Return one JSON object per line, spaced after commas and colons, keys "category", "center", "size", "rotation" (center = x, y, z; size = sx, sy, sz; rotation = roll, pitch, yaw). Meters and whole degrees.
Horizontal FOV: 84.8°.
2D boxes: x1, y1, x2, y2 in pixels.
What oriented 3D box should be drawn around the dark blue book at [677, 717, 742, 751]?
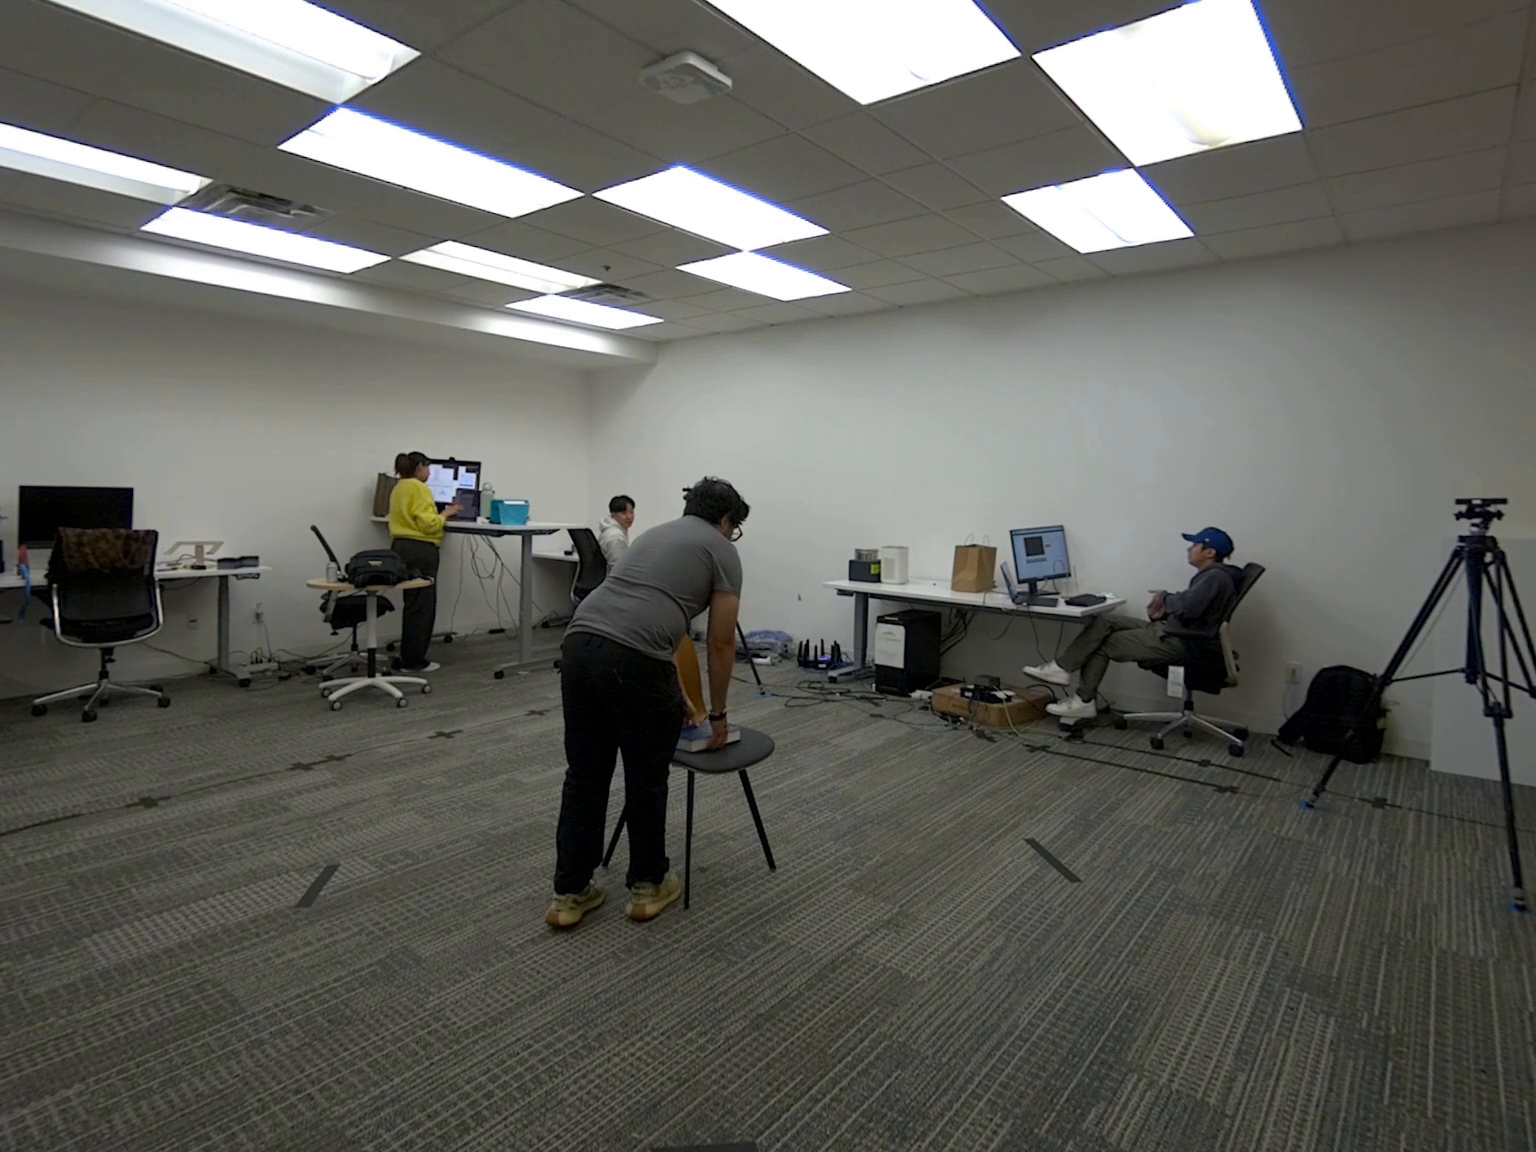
{"category": "dark blue book", "center": [-0.242, 0.564, 3.024], "size": [0.169, 0.045, 0.238], "rotation": [3, 5, 43]}
